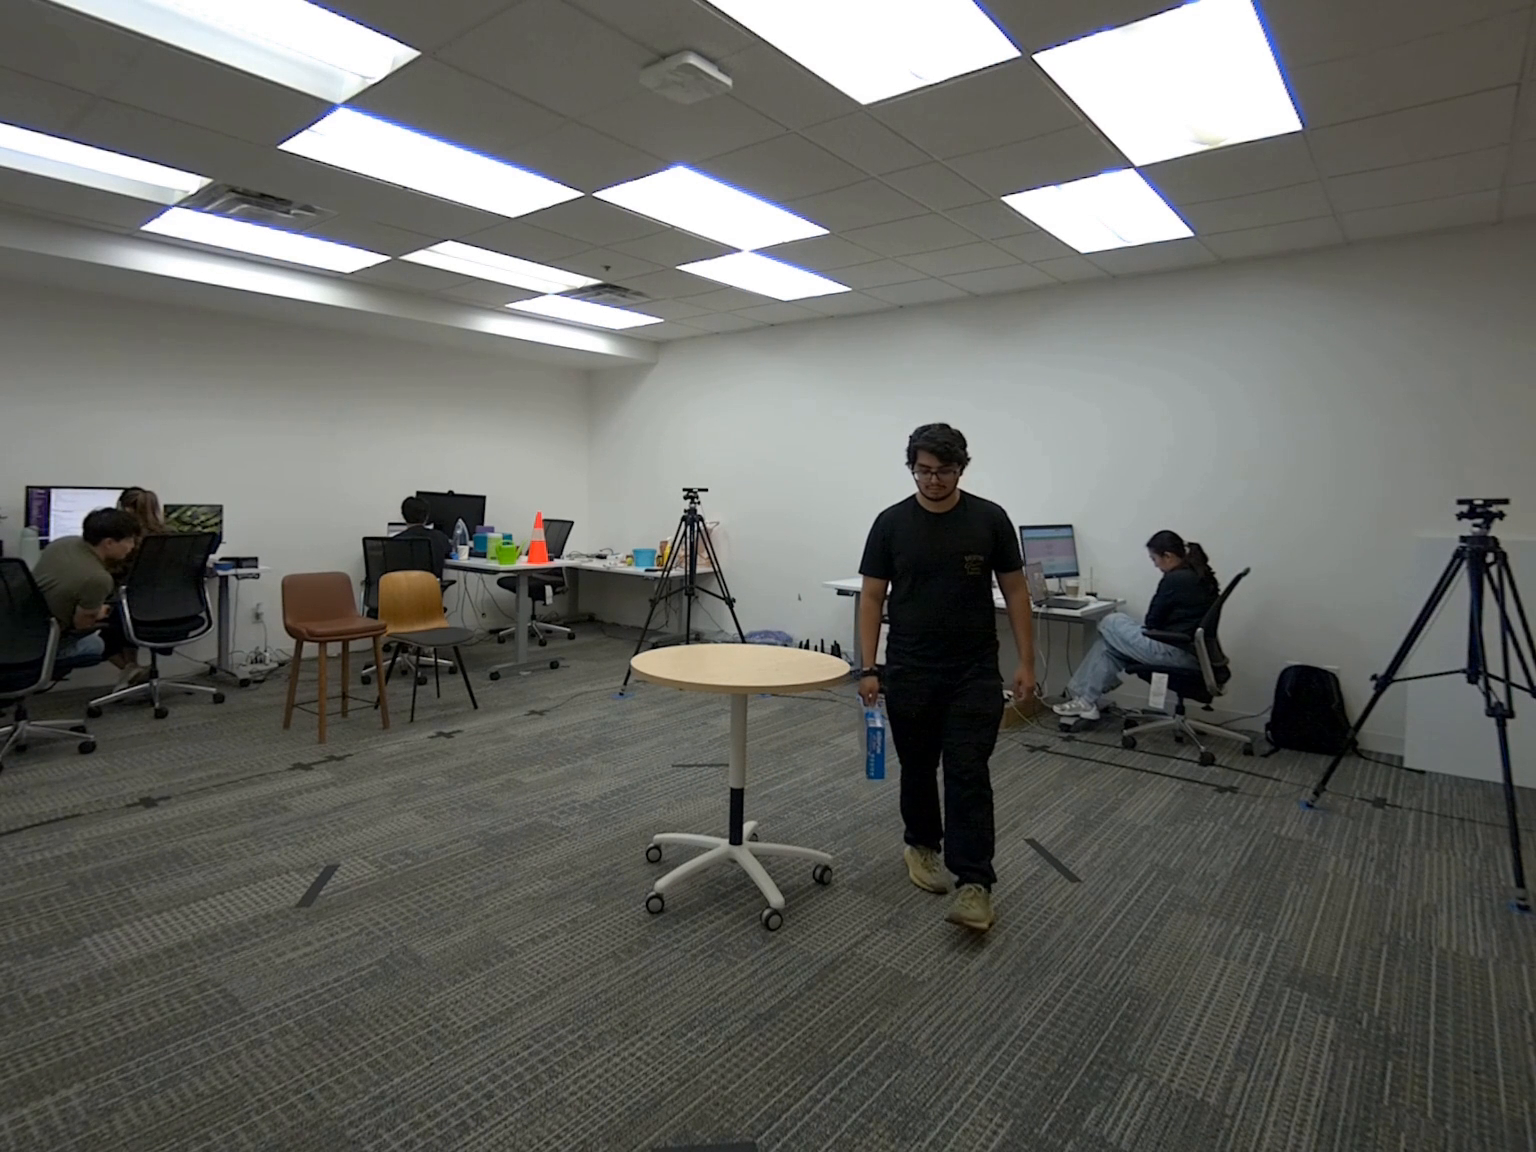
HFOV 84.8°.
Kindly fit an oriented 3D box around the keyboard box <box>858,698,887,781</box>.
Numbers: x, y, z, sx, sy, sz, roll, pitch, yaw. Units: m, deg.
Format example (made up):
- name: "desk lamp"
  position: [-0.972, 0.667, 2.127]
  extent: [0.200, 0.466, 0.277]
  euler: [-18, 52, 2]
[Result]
- name: "keyboard box"
  position: [0.357, 0.538, 2.955]
  extent: [0.059, 0.175, 0.436]
  euler: [-1, 7, 4]
